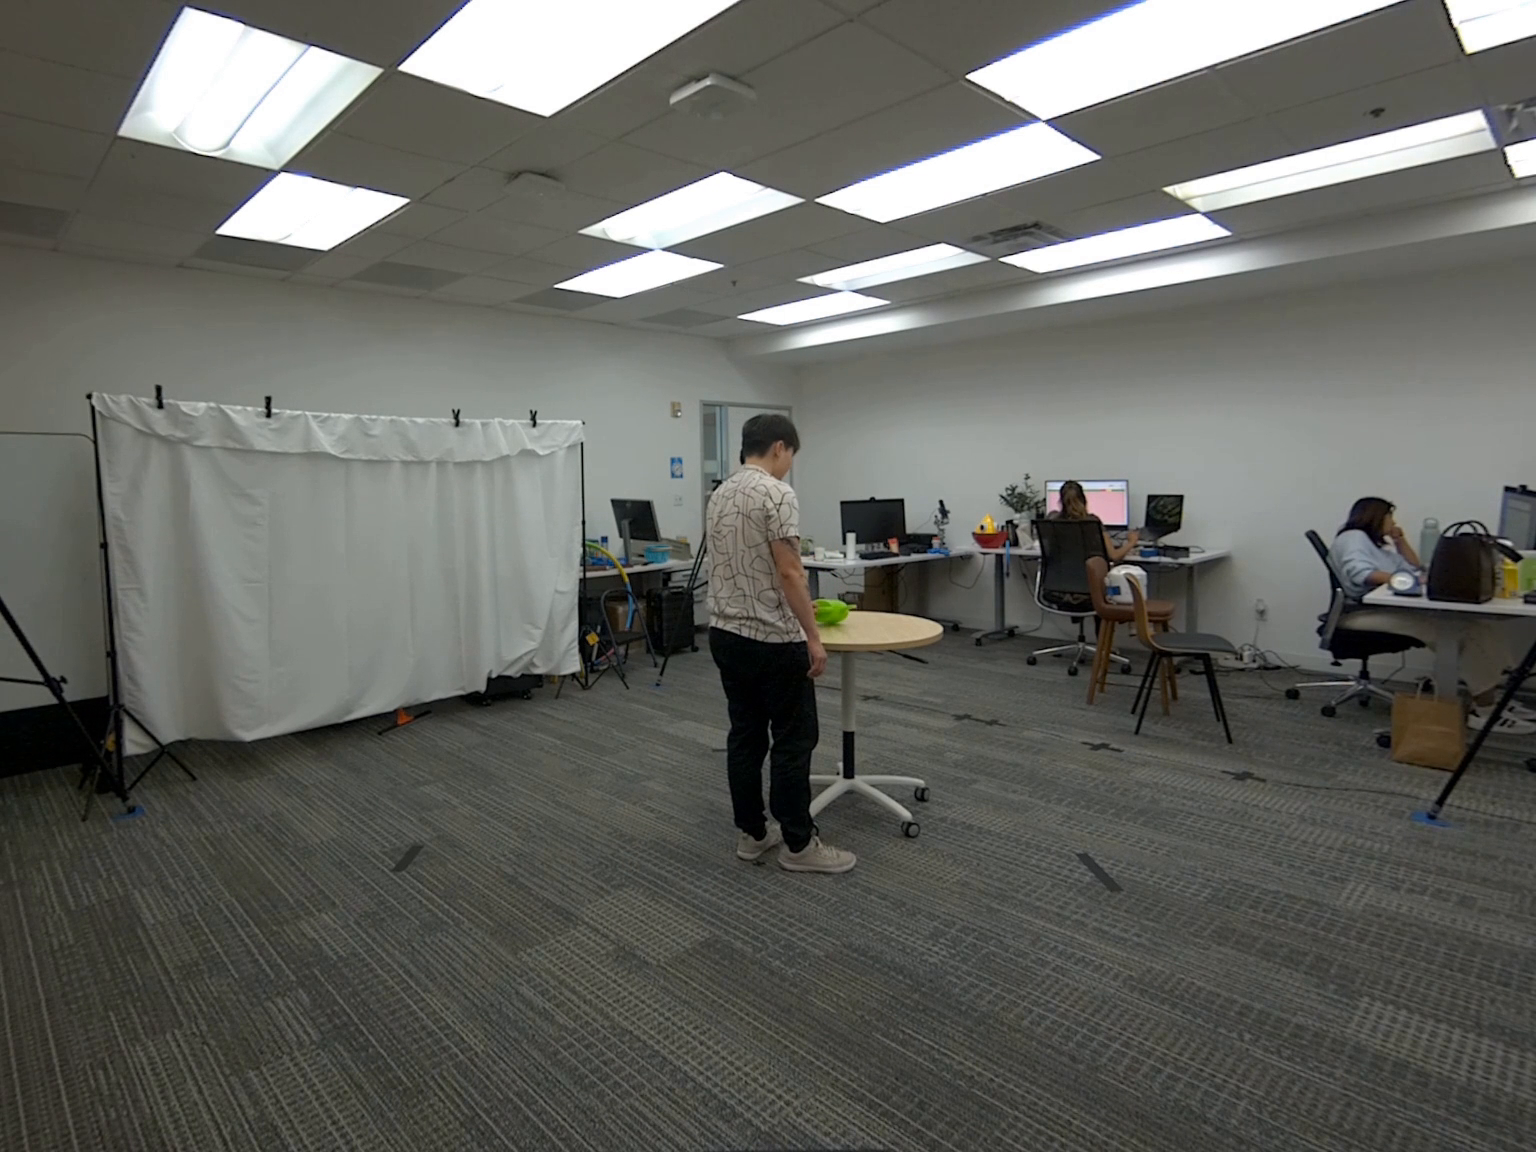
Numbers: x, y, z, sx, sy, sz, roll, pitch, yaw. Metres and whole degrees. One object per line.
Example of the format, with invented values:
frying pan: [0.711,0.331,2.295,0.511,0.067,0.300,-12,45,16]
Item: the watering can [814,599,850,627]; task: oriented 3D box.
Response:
watering can: [0.281,0.150,3.540,0.287,0.098,0.171,7,2,36]
